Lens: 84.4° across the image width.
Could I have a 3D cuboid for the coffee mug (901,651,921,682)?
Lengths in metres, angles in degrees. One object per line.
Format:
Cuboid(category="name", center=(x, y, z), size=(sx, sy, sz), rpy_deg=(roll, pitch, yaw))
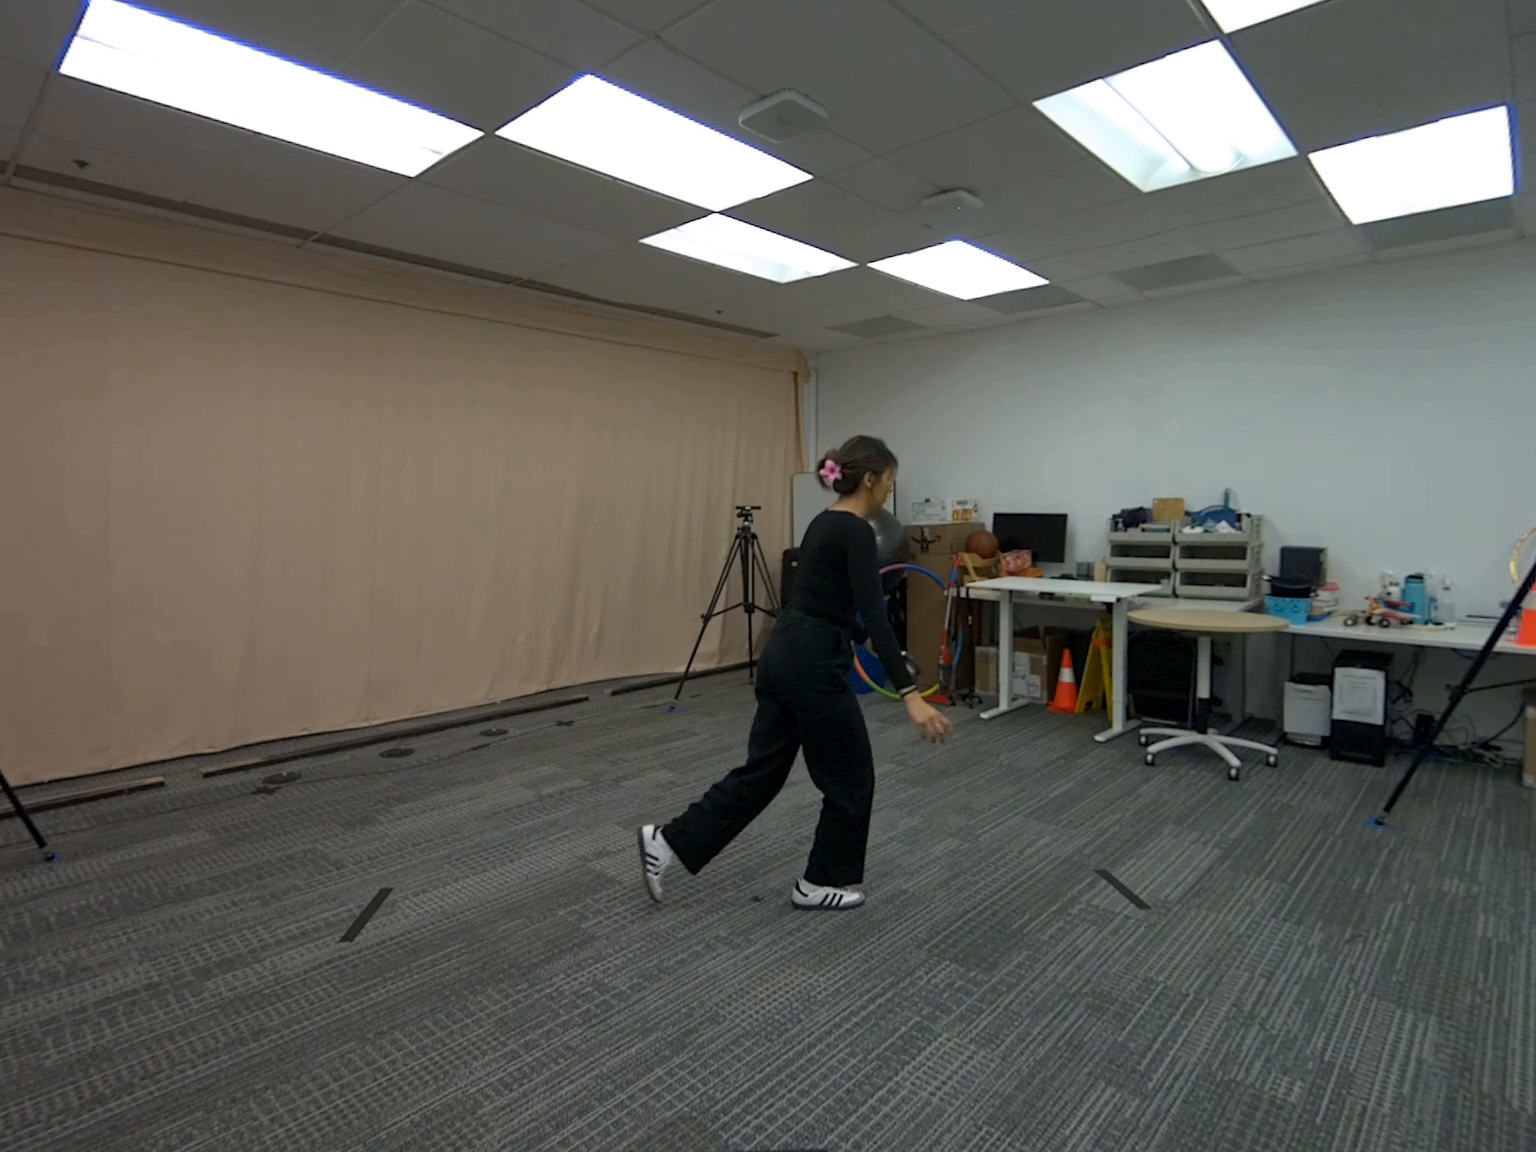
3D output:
Cuboid(category="coffee mug", center=(0.506, 0.323, 3.291), size=(0.123, 0.203, 0.087), rpy_deg=(-34, 1, 27))
